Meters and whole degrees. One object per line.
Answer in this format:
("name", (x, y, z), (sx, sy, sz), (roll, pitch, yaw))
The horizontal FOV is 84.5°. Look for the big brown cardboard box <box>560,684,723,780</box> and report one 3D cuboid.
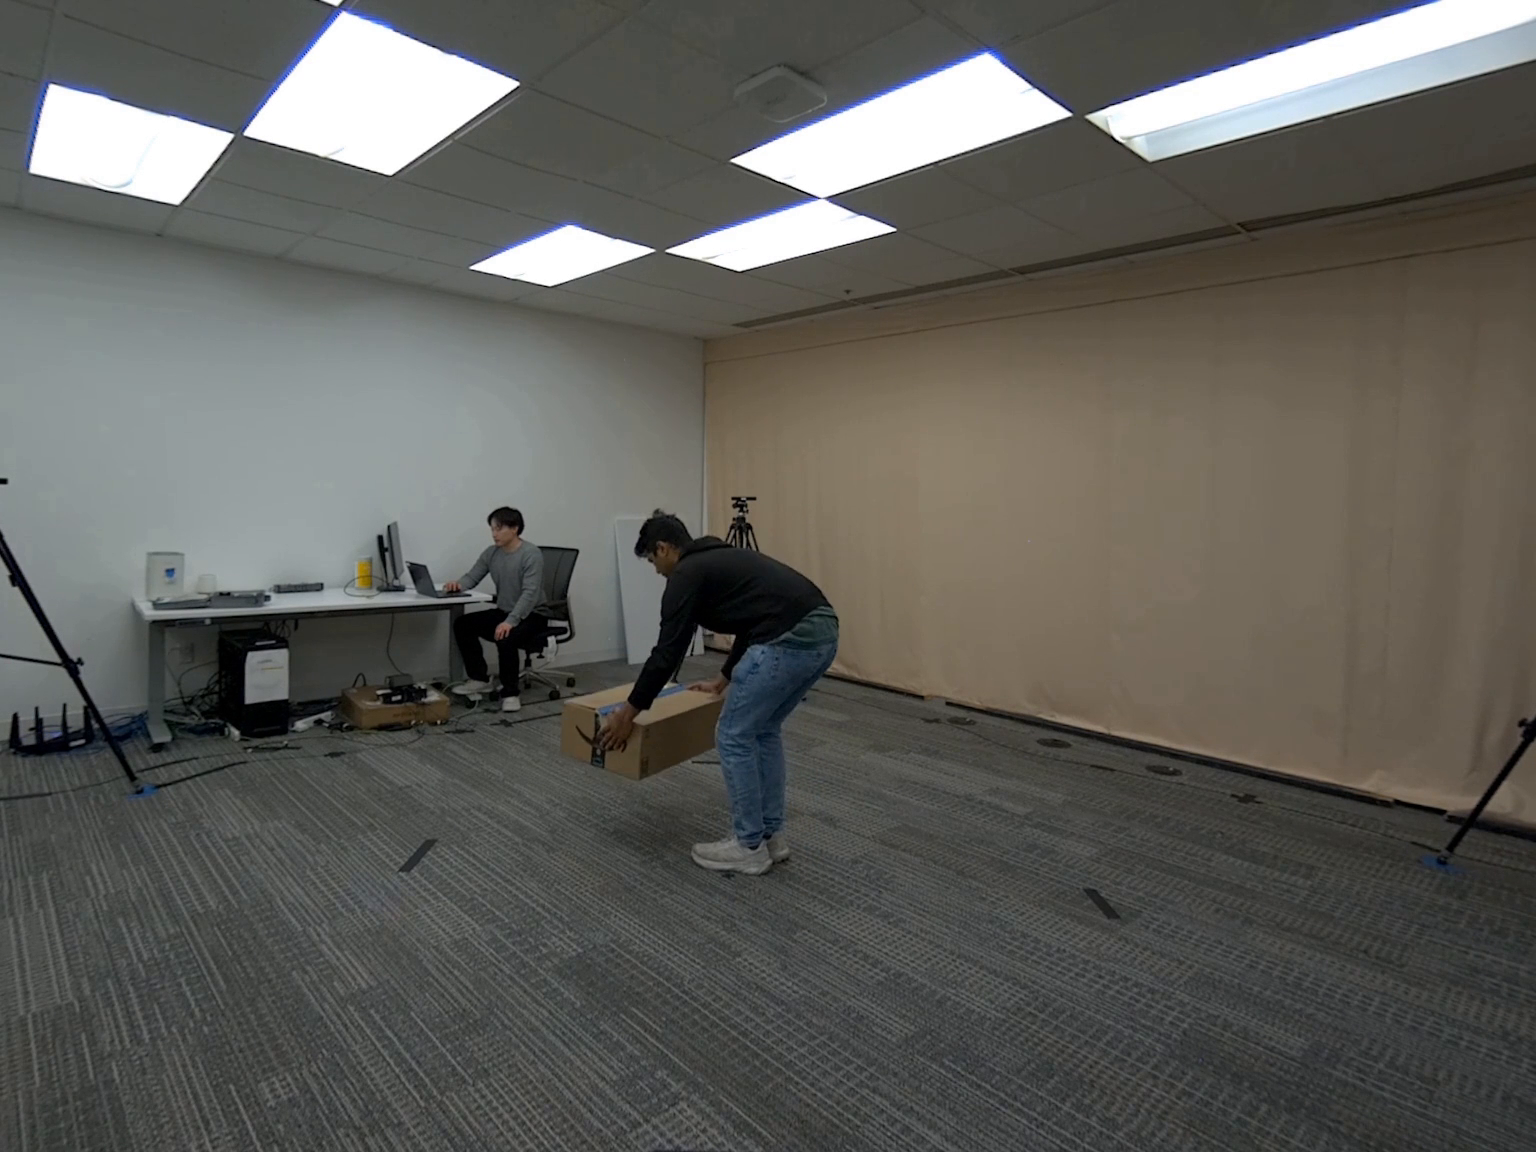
("big brown cardboard box", (-0.504, 0.605, 3.491), (0.427, 0.232, 0.578), (8, 9, 31))
